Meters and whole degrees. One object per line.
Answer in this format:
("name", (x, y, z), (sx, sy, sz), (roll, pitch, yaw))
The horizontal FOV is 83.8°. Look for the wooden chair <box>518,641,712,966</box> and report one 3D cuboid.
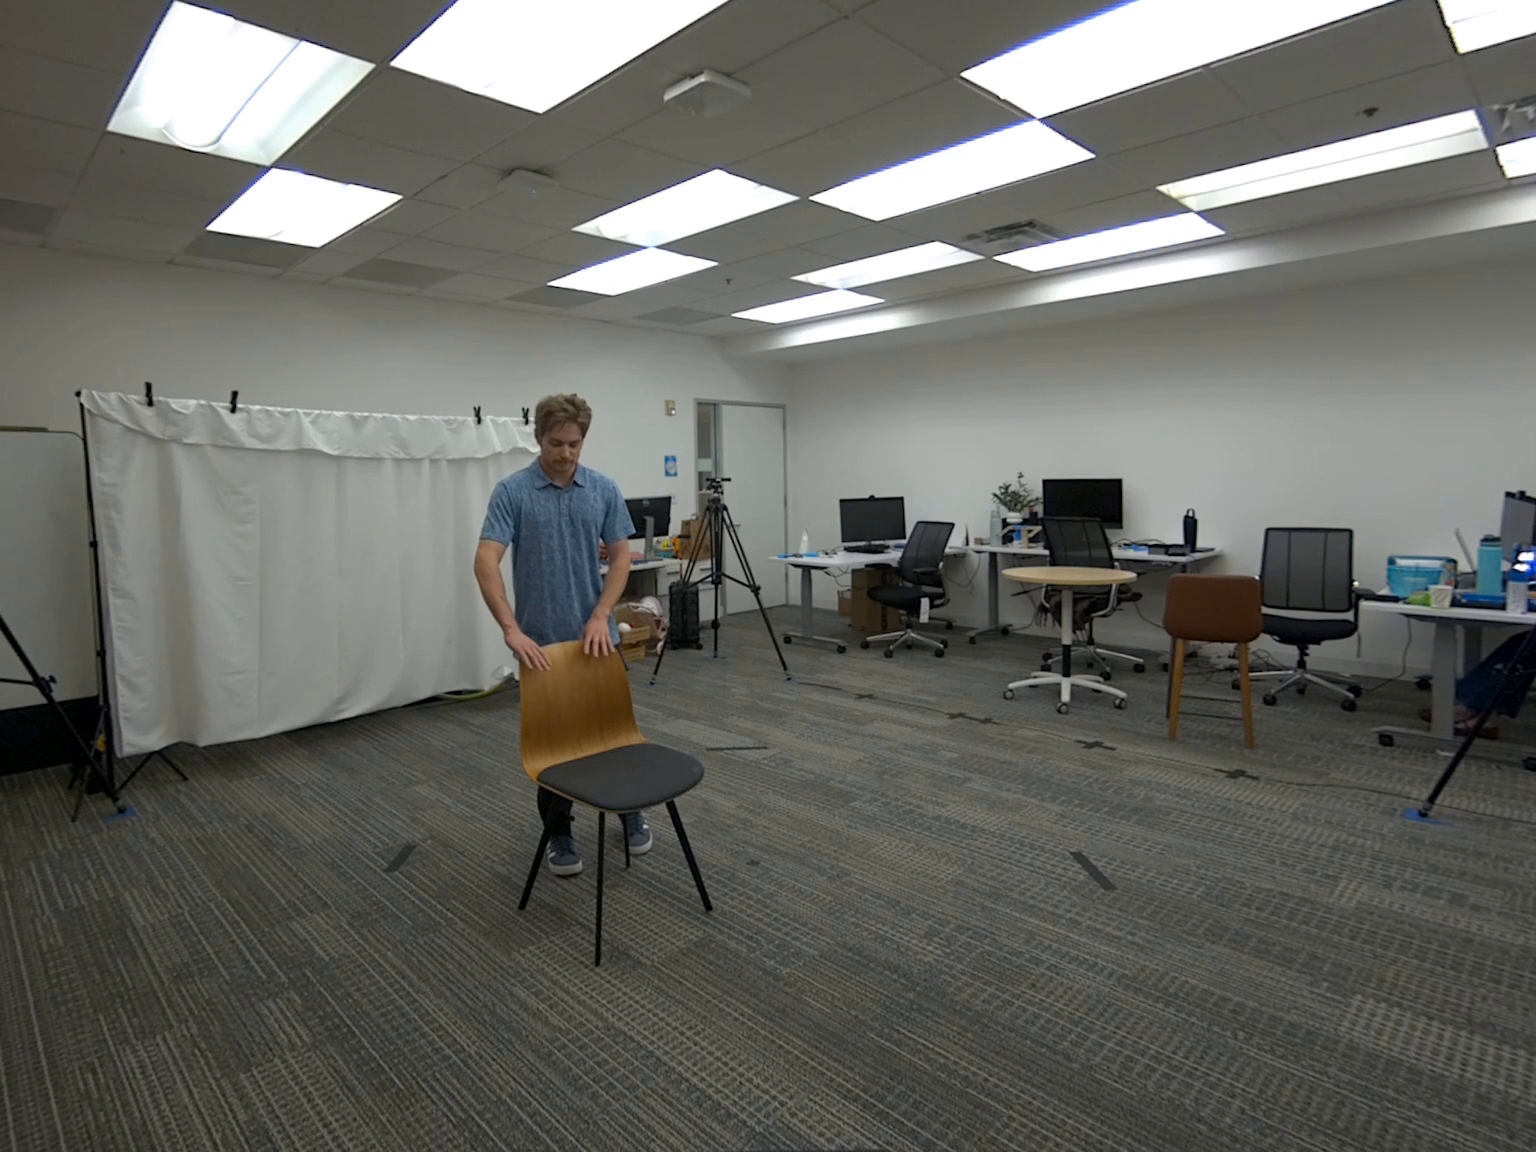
("wooden chair", (-0.492, 0.663, 2.741), (0.465, 0.877, 0.537), (-5, 2, -44))
